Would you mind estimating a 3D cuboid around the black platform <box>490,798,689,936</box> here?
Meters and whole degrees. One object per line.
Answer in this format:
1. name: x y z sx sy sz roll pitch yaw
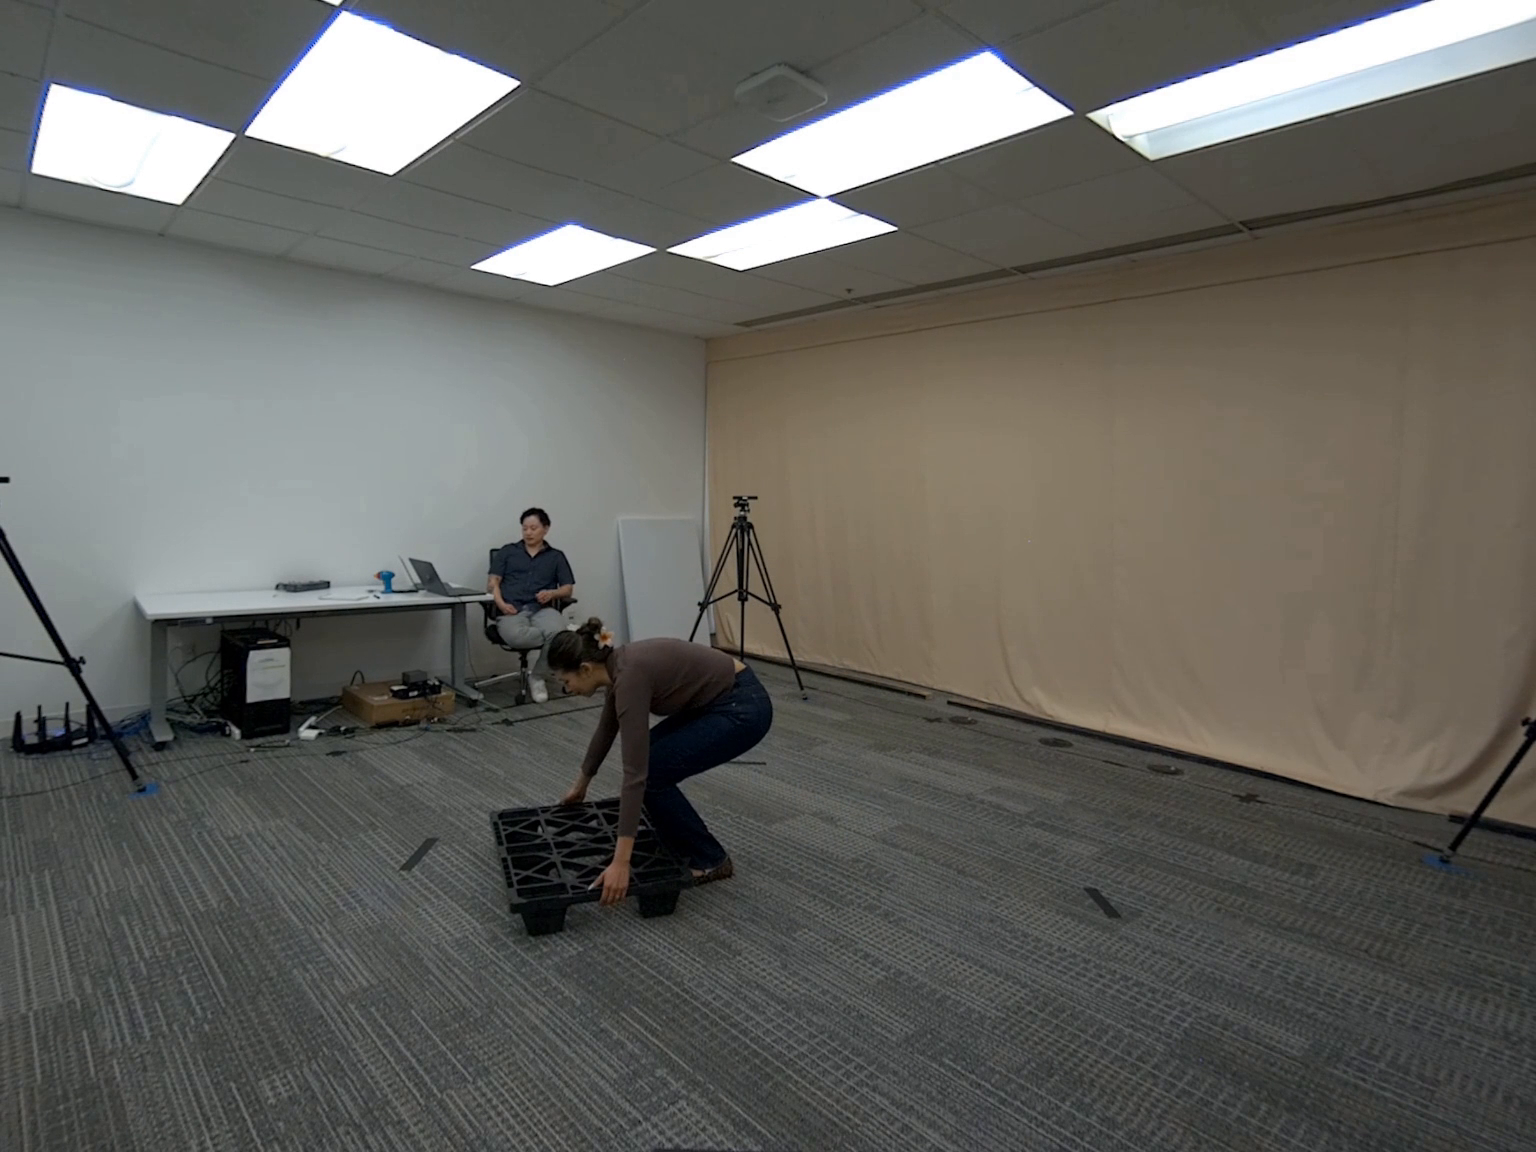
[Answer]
1. black platform: -0.679 1.032 3.056 0.595 0.143 0.821 0 6 -22
